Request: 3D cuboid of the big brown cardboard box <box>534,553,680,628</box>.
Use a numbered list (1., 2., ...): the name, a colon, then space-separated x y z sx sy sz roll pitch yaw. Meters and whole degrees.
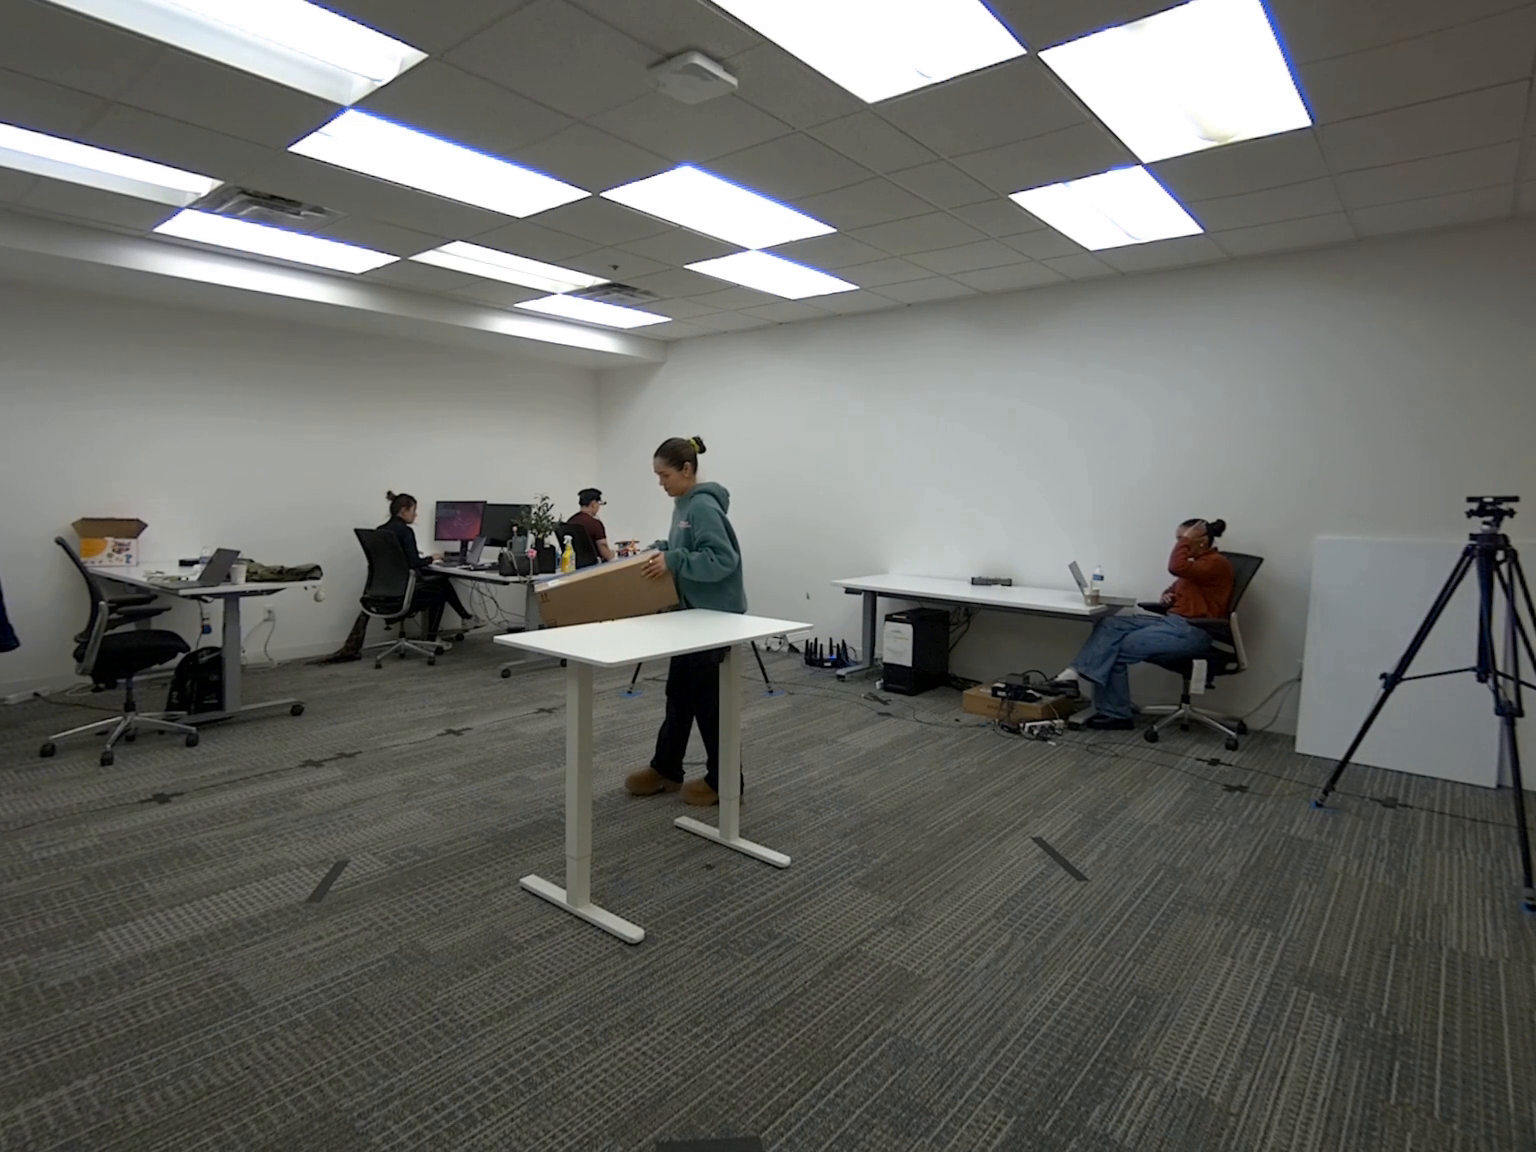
1. big brown cardboard box: -0.740 0.070 3.733 0.583 0.232 0.424 -15 6 -13
